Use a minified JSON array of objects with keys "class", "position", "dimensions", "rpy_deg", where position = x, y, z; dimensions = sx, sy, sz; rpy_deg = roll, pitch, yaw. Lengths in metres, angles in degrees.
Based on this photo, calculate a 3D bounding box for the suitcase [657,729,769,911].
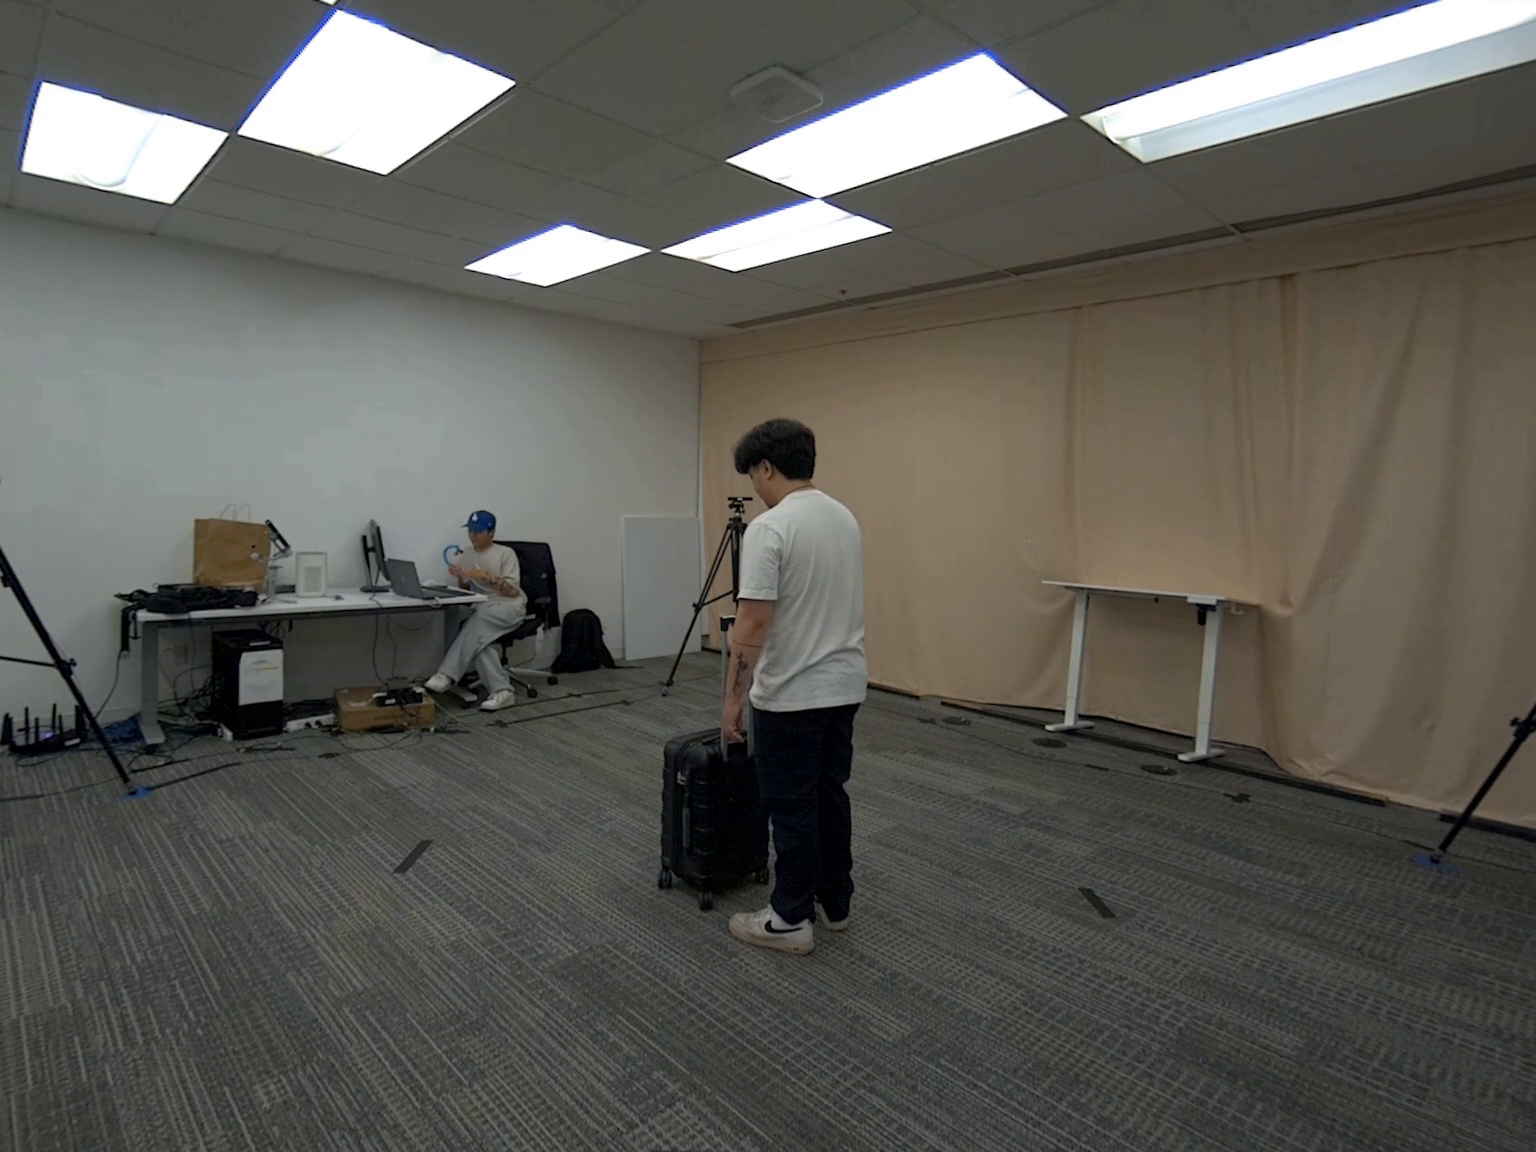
[{"class":"suitcase","position":[-0.201,0.637,3.040],"dimensions":[0.375,0.978,0.263],"rpy_deg":[-1,0,-45]}]
